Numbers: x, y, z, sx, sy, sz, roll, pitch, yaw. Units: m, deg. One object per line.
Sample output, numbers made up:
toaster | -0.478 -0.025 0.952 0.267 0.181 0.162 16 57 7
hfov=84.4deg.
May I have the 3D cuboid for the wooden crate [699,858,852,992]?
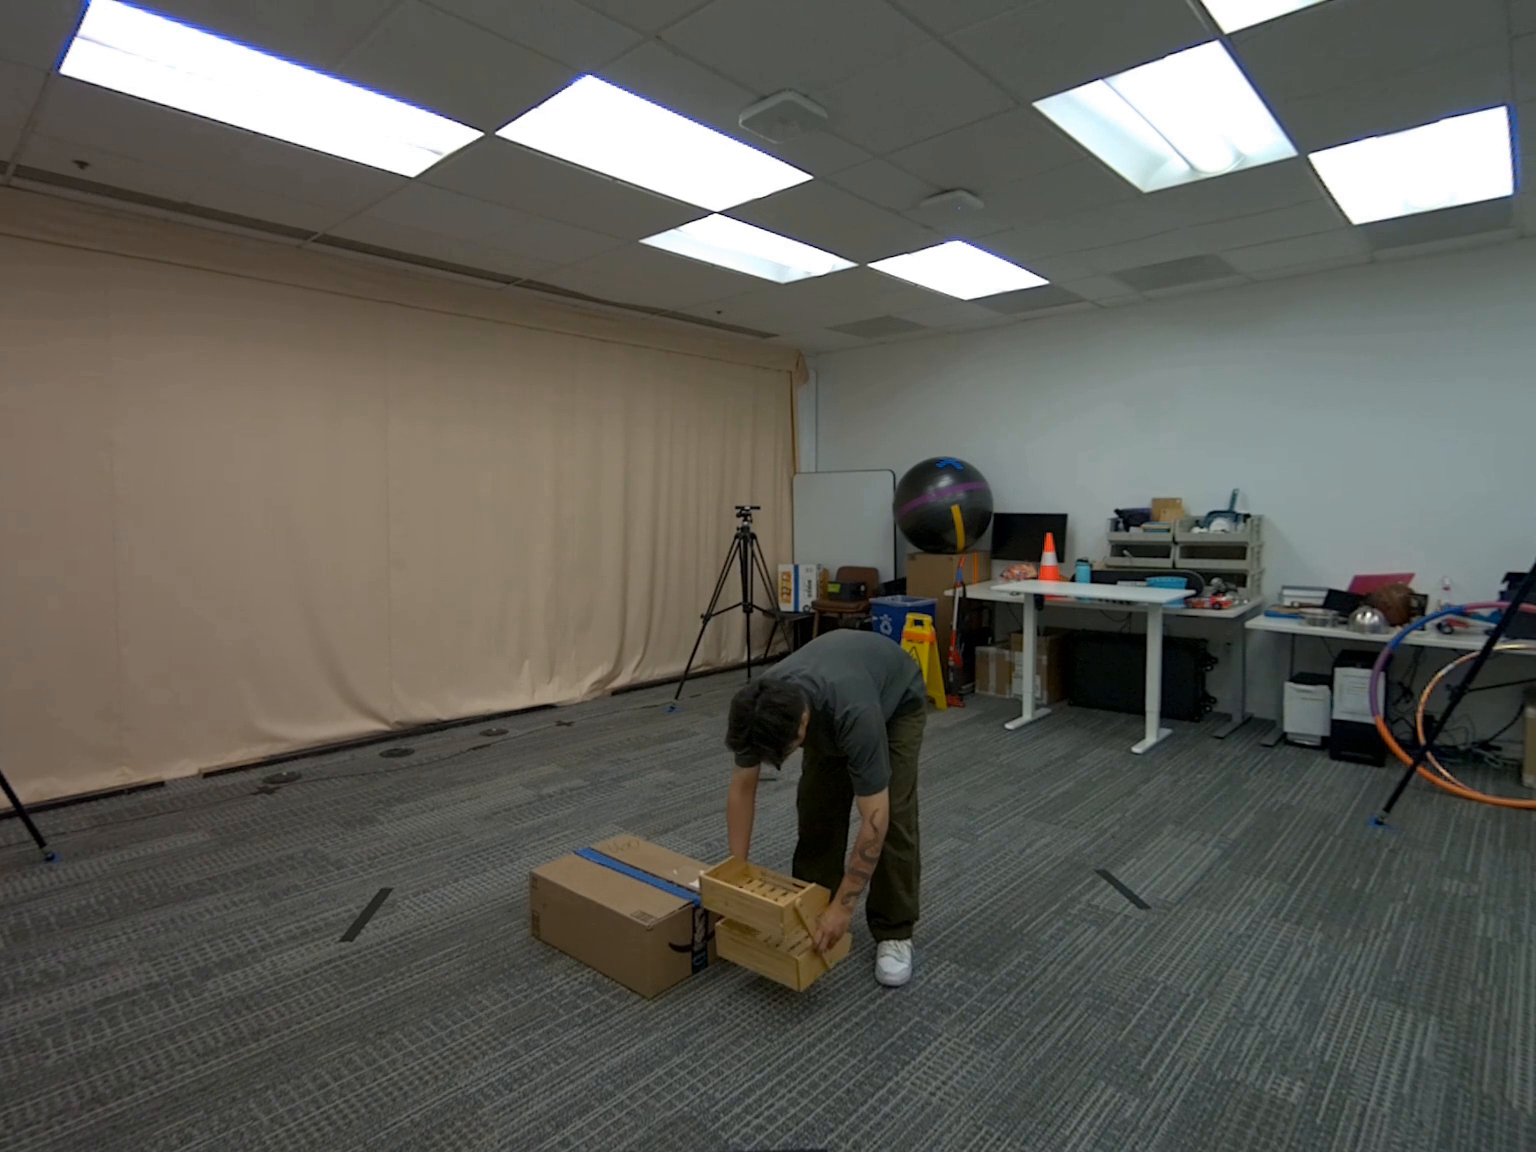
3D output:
wooden crate | 0.032 0.953 2.389 0.335 0.272 0.293 2 9 41
